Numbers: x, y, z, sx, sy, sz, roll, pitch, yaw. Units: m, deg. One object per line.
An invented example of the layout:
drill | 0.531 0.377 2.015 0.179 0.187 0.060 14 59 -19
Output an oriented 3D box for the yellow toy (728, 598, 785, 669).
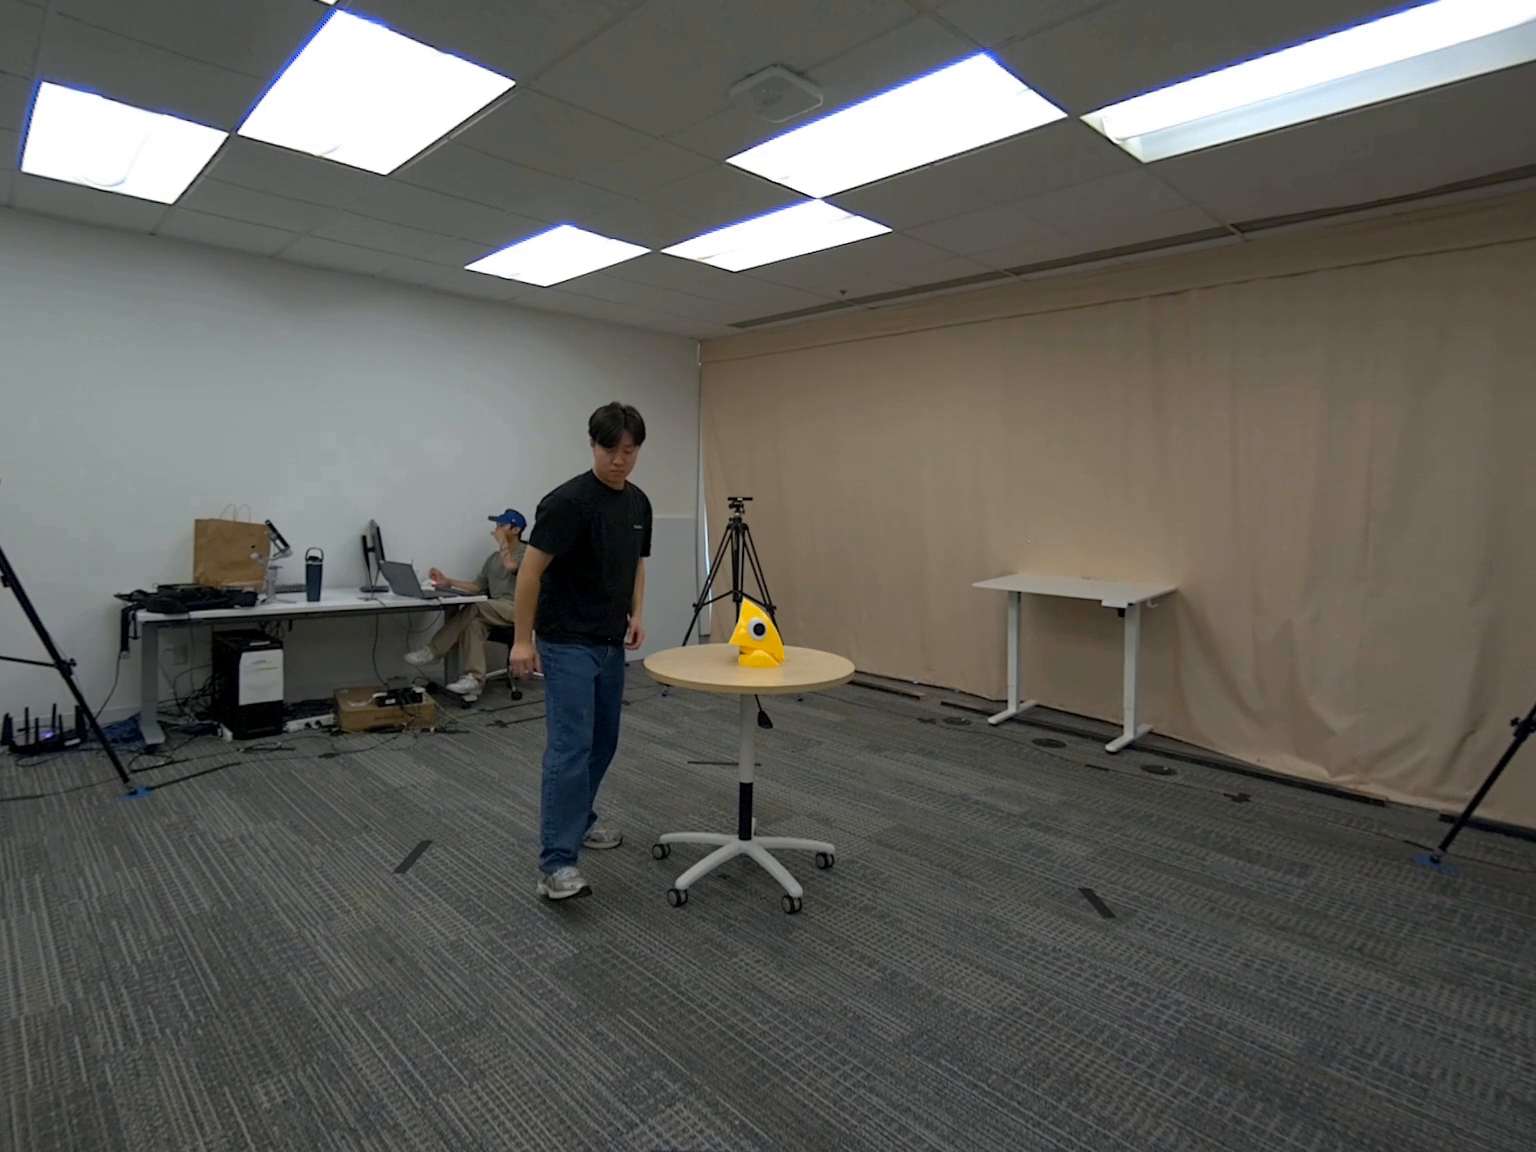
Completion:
yellow toy | -0.042 0.198 3.075 0.195 0.230 0.203 3 5 10
